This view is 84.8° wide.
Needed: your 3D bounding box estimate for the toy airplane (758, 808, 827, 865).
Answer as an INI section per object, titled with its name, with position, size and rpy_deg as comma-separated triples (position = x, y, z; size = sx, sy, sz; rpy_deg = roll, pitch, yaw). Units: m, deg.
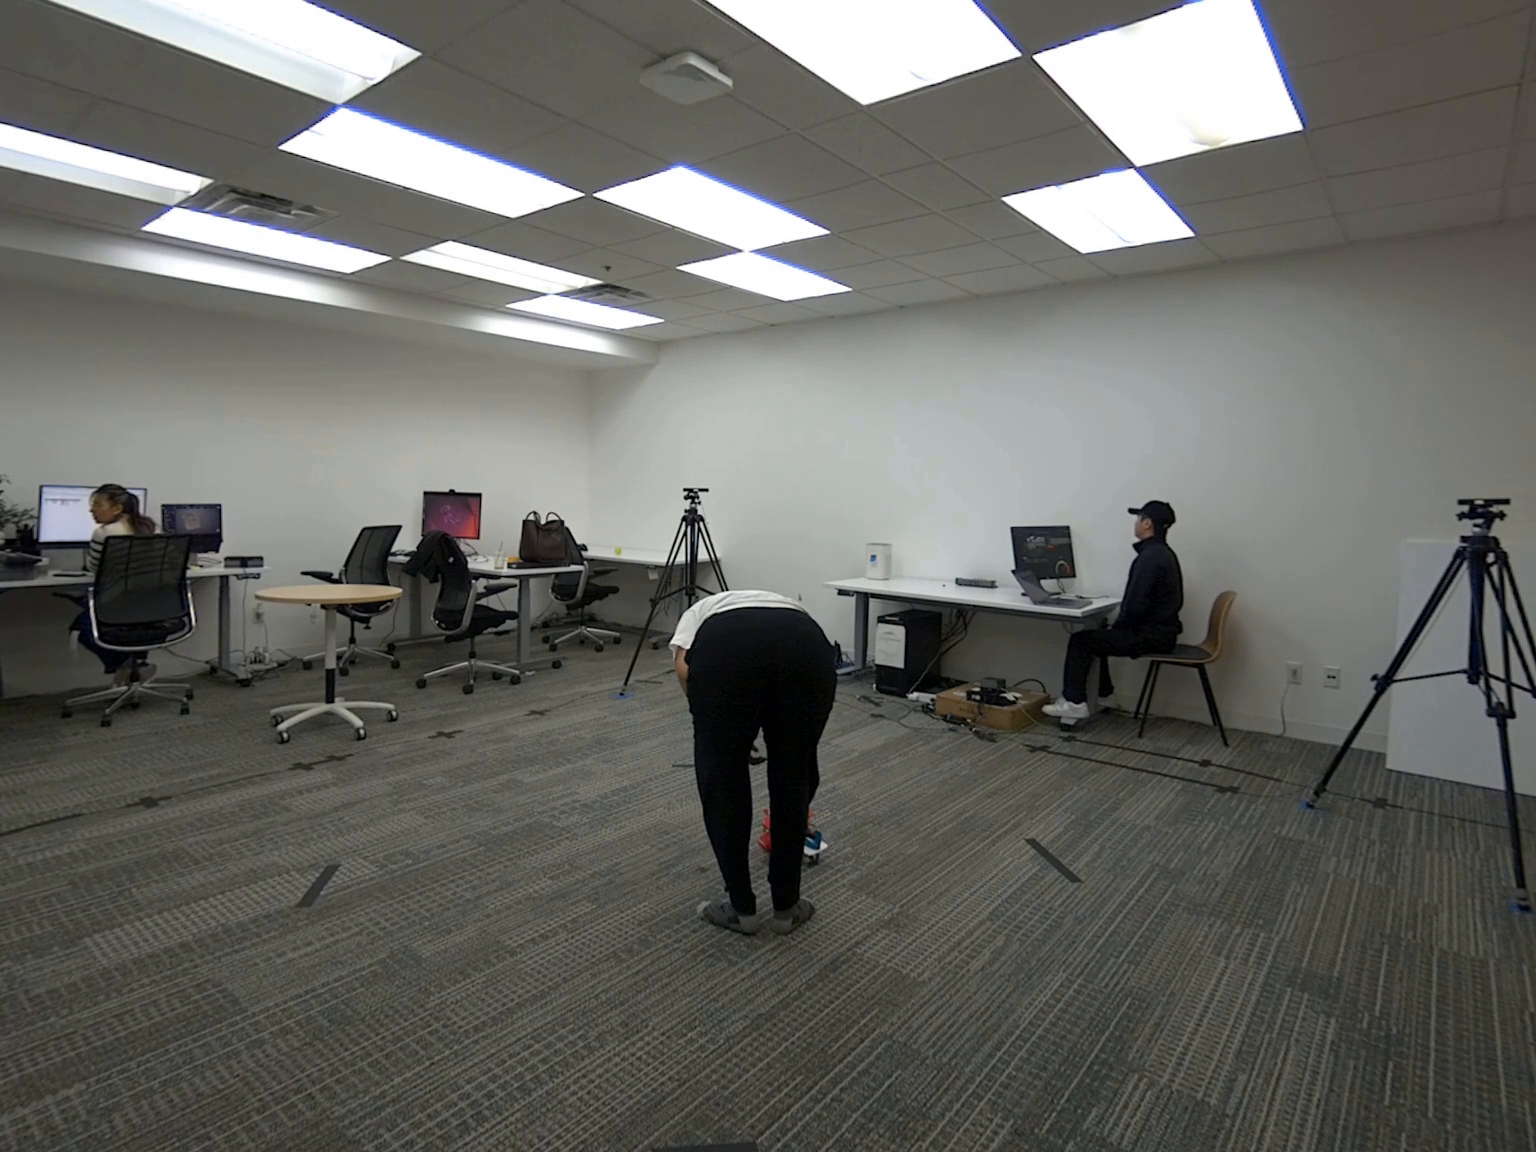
[toy airplane]
position = 0.097, 0.984, 3.265
size = 0.263, 0.156, 0.248
rpy_deg = 1, 5, 13
